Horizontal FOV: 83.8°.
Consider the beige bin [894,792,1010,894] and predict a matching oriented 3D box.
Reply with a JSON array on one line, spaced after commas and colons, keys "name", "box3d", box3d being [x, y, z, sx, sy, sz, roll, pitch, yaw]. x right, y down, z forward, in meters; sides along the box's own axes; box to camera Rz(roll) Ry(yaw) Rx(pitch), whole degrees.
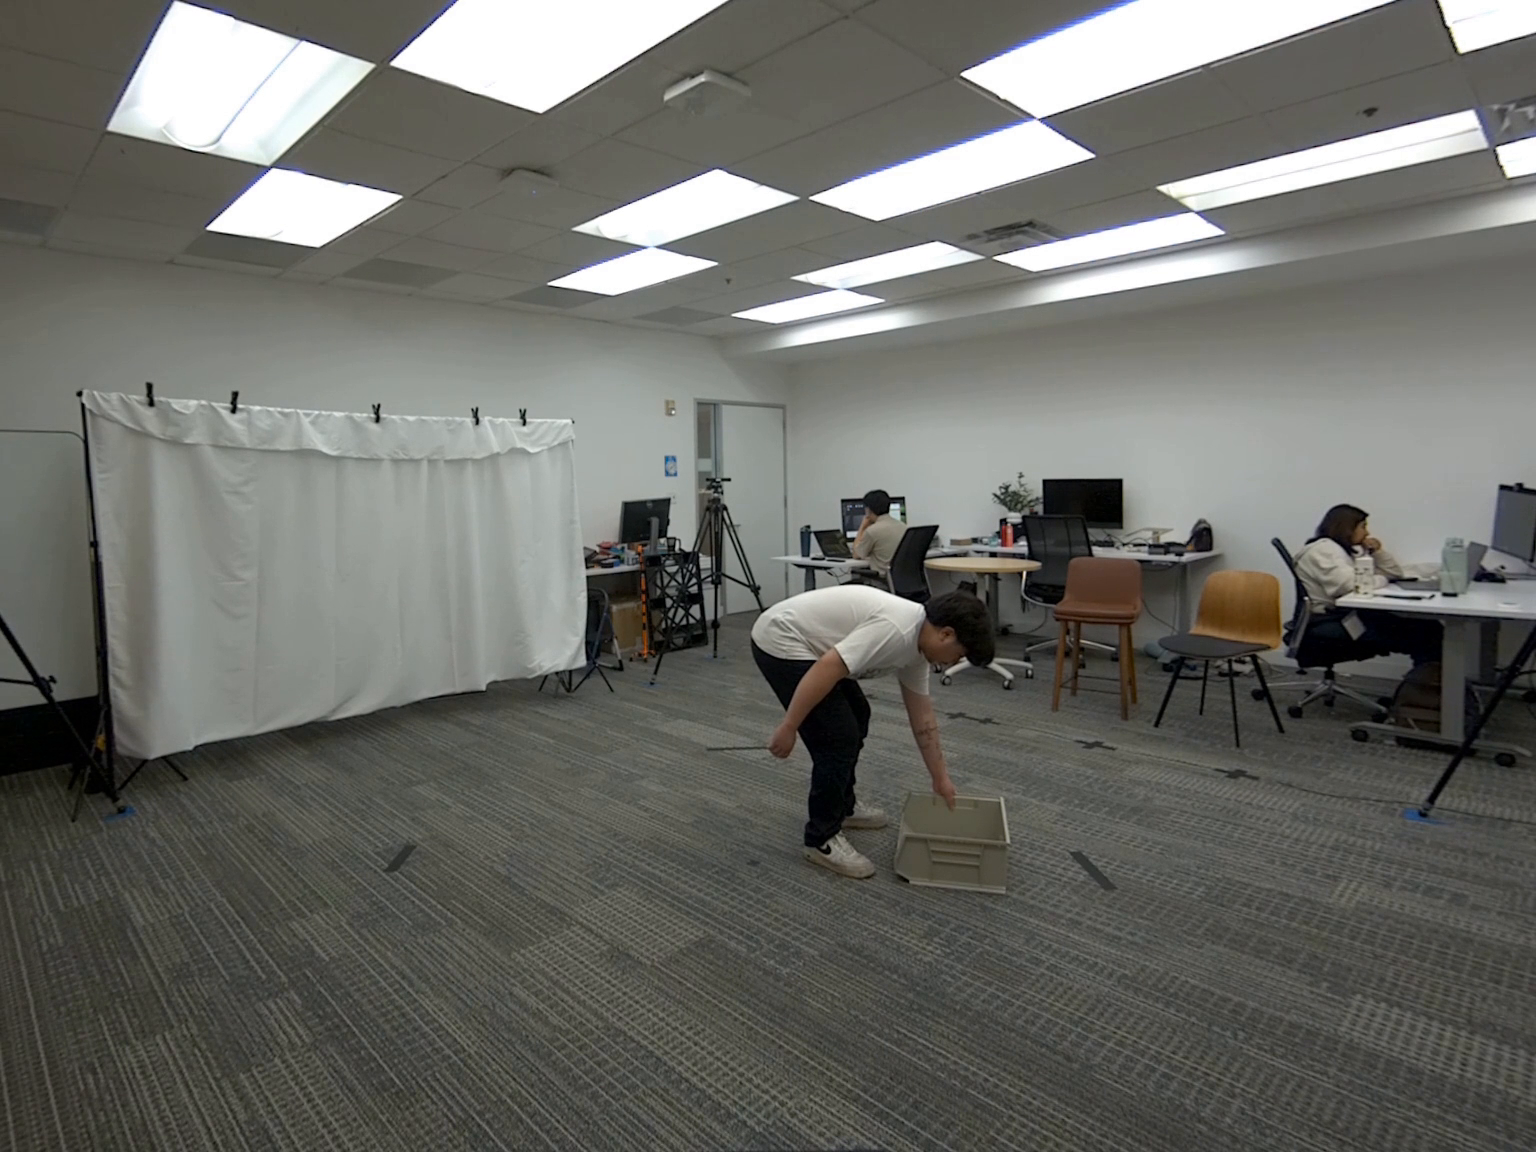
[{"name": "beige bin", "box3d": [0.655, 0.942, 3.074, 0.383, 0.188, 0.418, 1, 6, 13]}]
